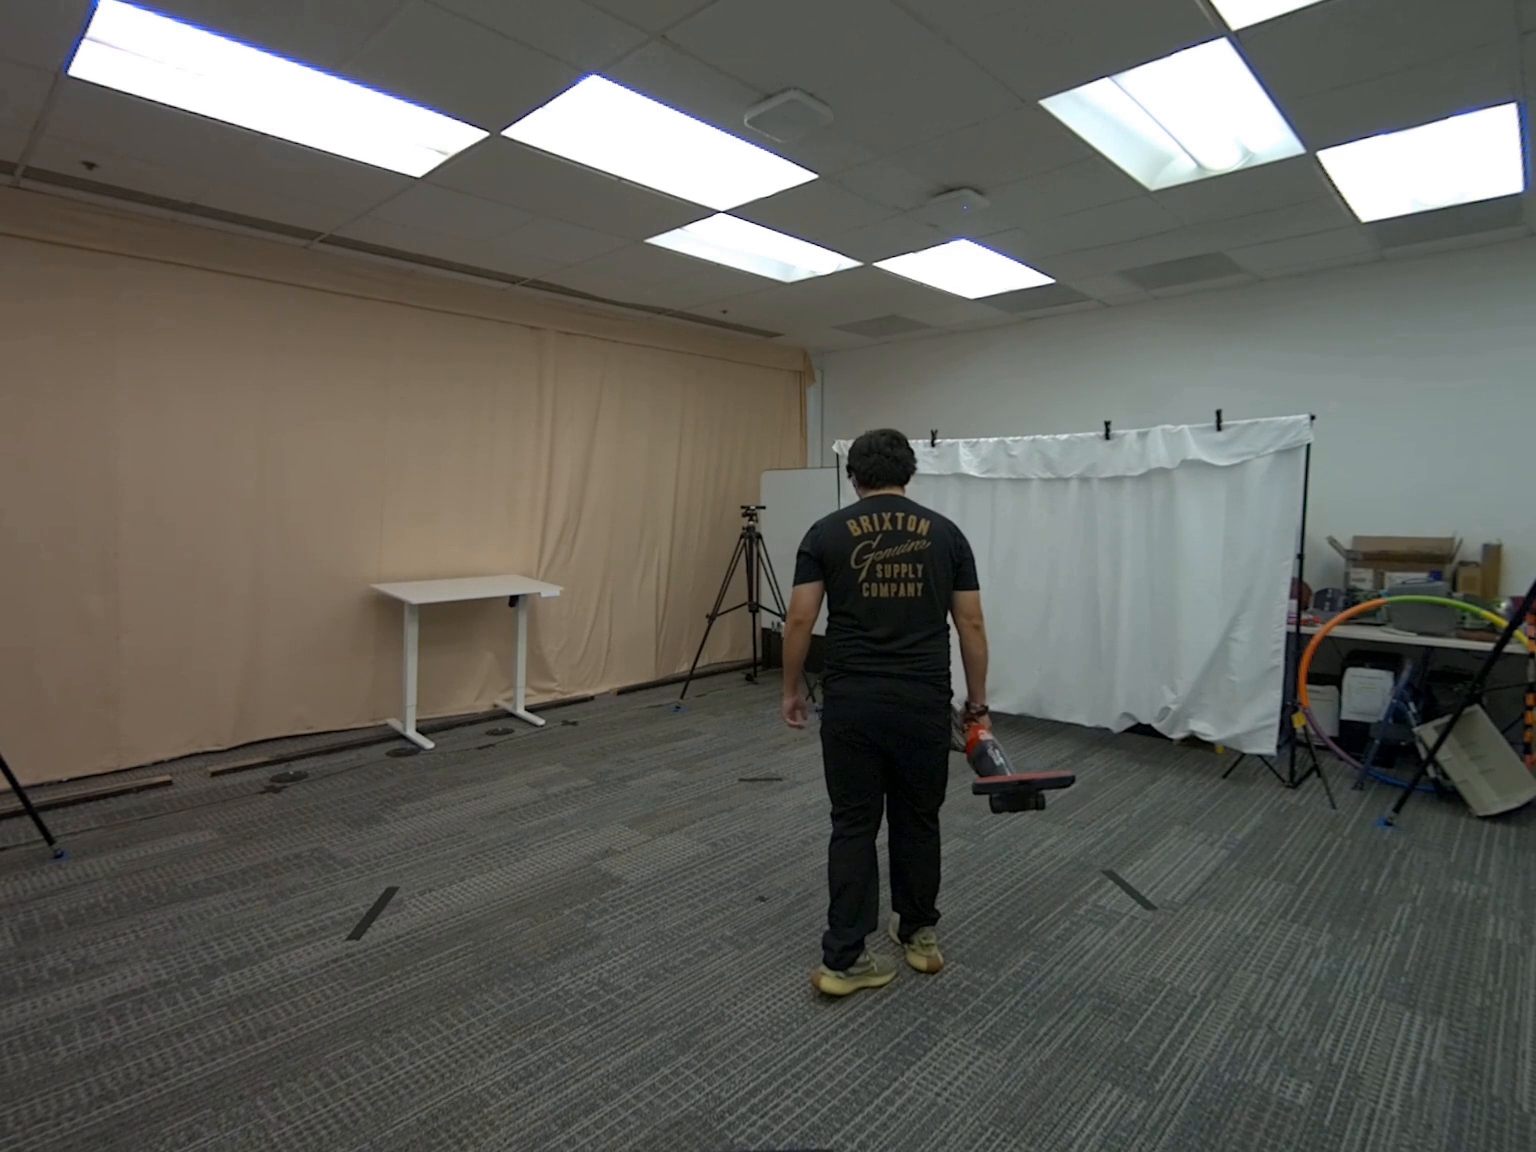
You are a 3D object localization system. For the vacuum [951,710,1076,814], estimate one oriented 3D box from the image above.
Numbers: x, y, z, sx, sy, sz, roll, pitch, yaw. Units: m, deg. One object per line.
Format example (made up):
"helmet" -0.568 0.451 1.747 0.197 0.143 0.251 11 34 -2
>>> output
"vacuum" 0.630 0.482 2.674 0.252 0.143 1.055 -5 8 -2
